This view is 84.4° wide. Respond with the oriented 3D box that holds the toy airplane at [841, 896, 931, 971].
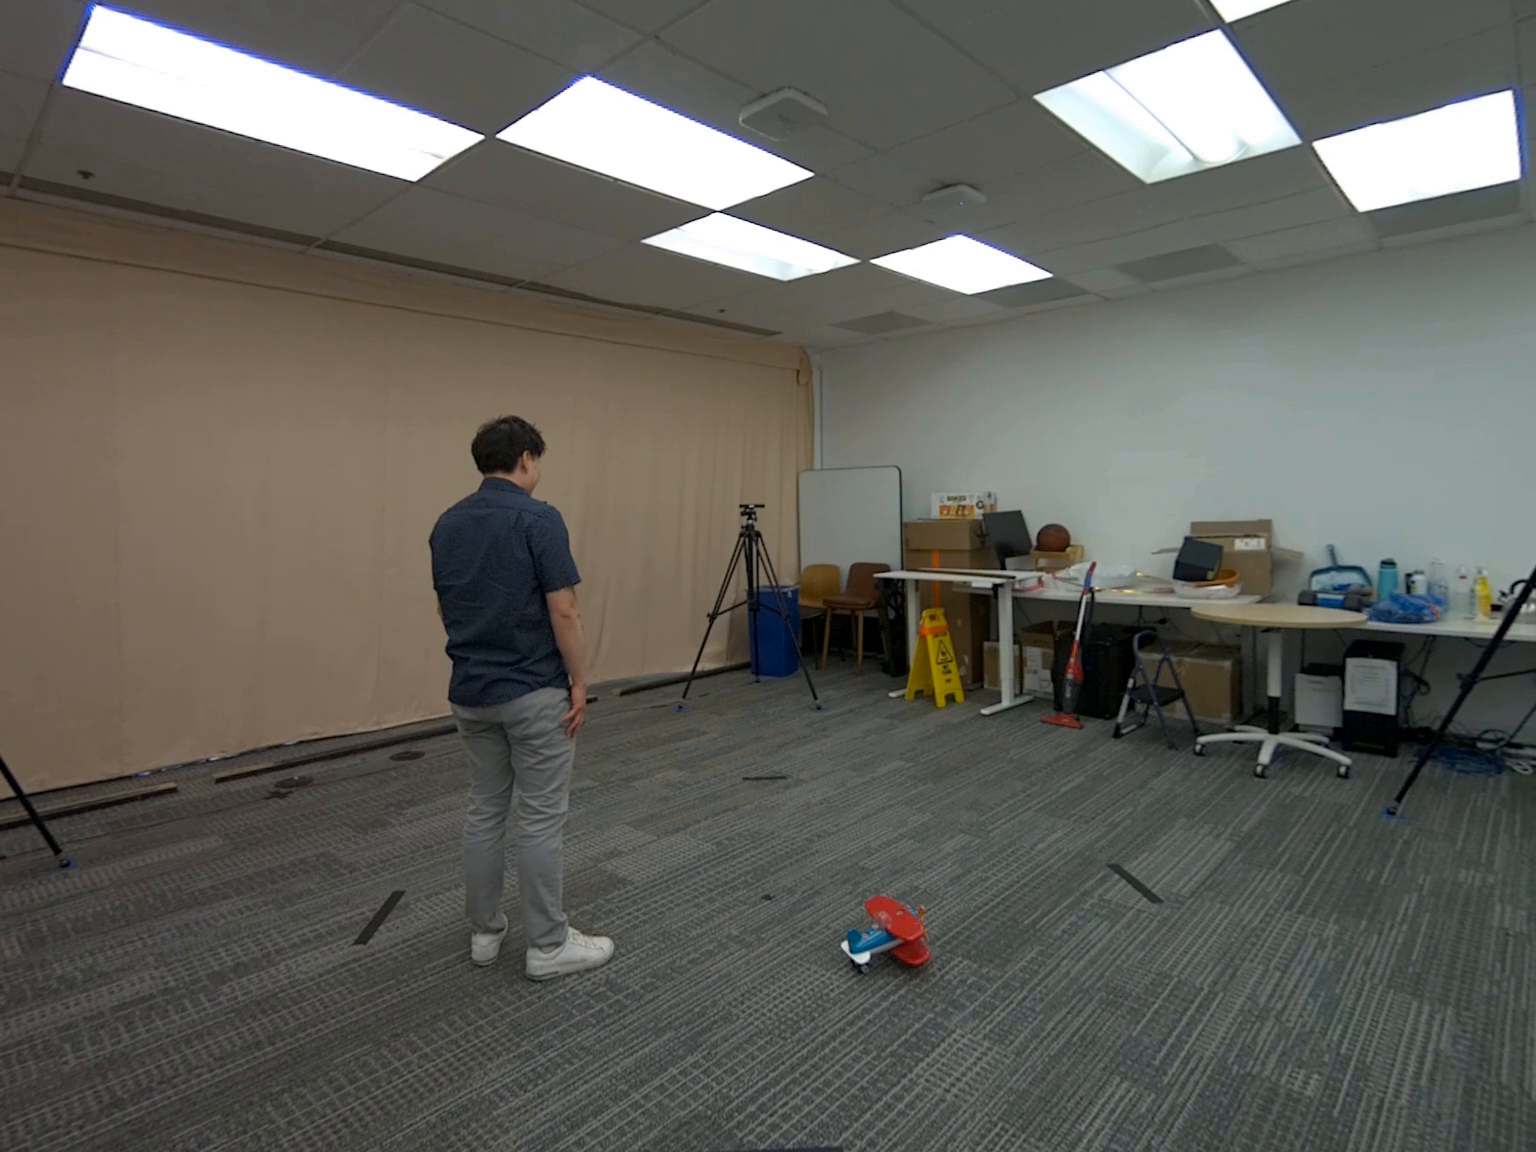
[{"bbox_3d":[0.370,1.098,2.520,0.259,0.156,0.251,3,4,40],"label":"toy airplane"}]
